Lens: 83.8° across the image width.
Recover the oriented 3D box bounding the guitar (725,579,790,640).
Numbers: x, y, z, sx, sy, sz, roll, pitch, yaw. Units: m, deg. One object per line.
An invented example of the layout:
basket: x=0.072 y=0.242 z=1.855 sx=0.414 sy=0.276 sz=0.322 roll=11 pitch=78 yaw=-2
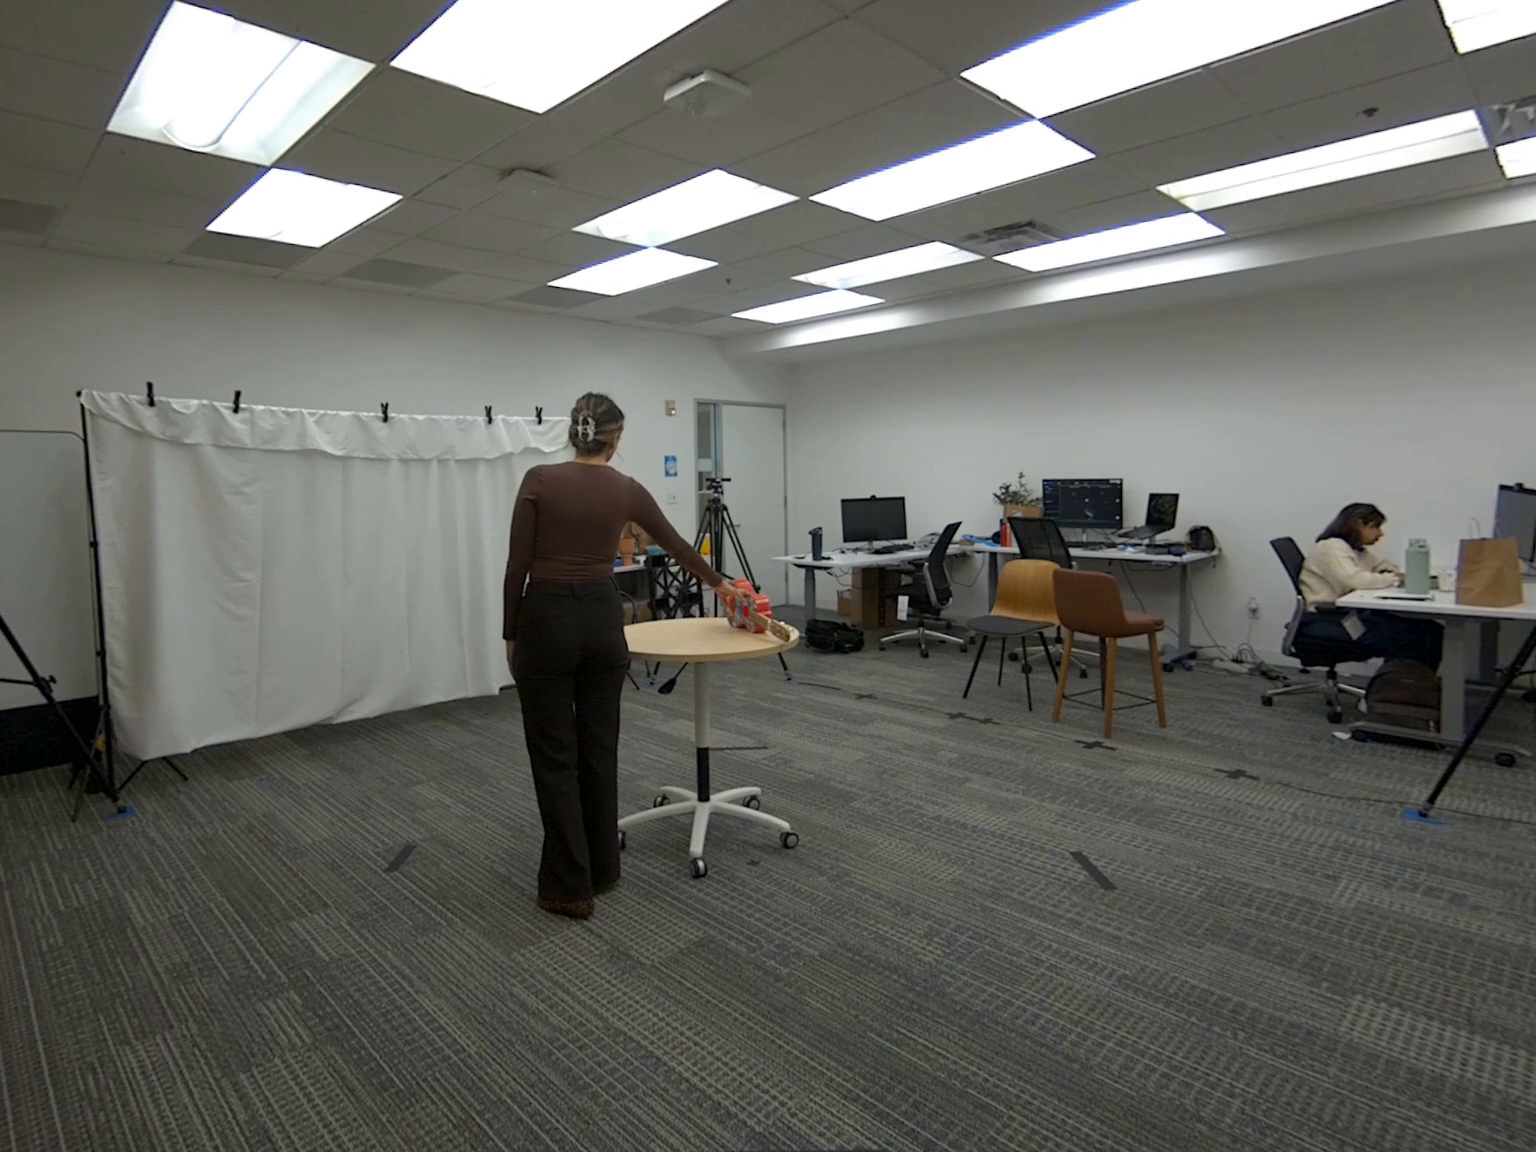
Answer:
guitar: x=-0.035 y=0.180 z=3.291 sx=0.069 sy=0.189 sz=0.516 roll=-8 pitch=26 yaw=-26
